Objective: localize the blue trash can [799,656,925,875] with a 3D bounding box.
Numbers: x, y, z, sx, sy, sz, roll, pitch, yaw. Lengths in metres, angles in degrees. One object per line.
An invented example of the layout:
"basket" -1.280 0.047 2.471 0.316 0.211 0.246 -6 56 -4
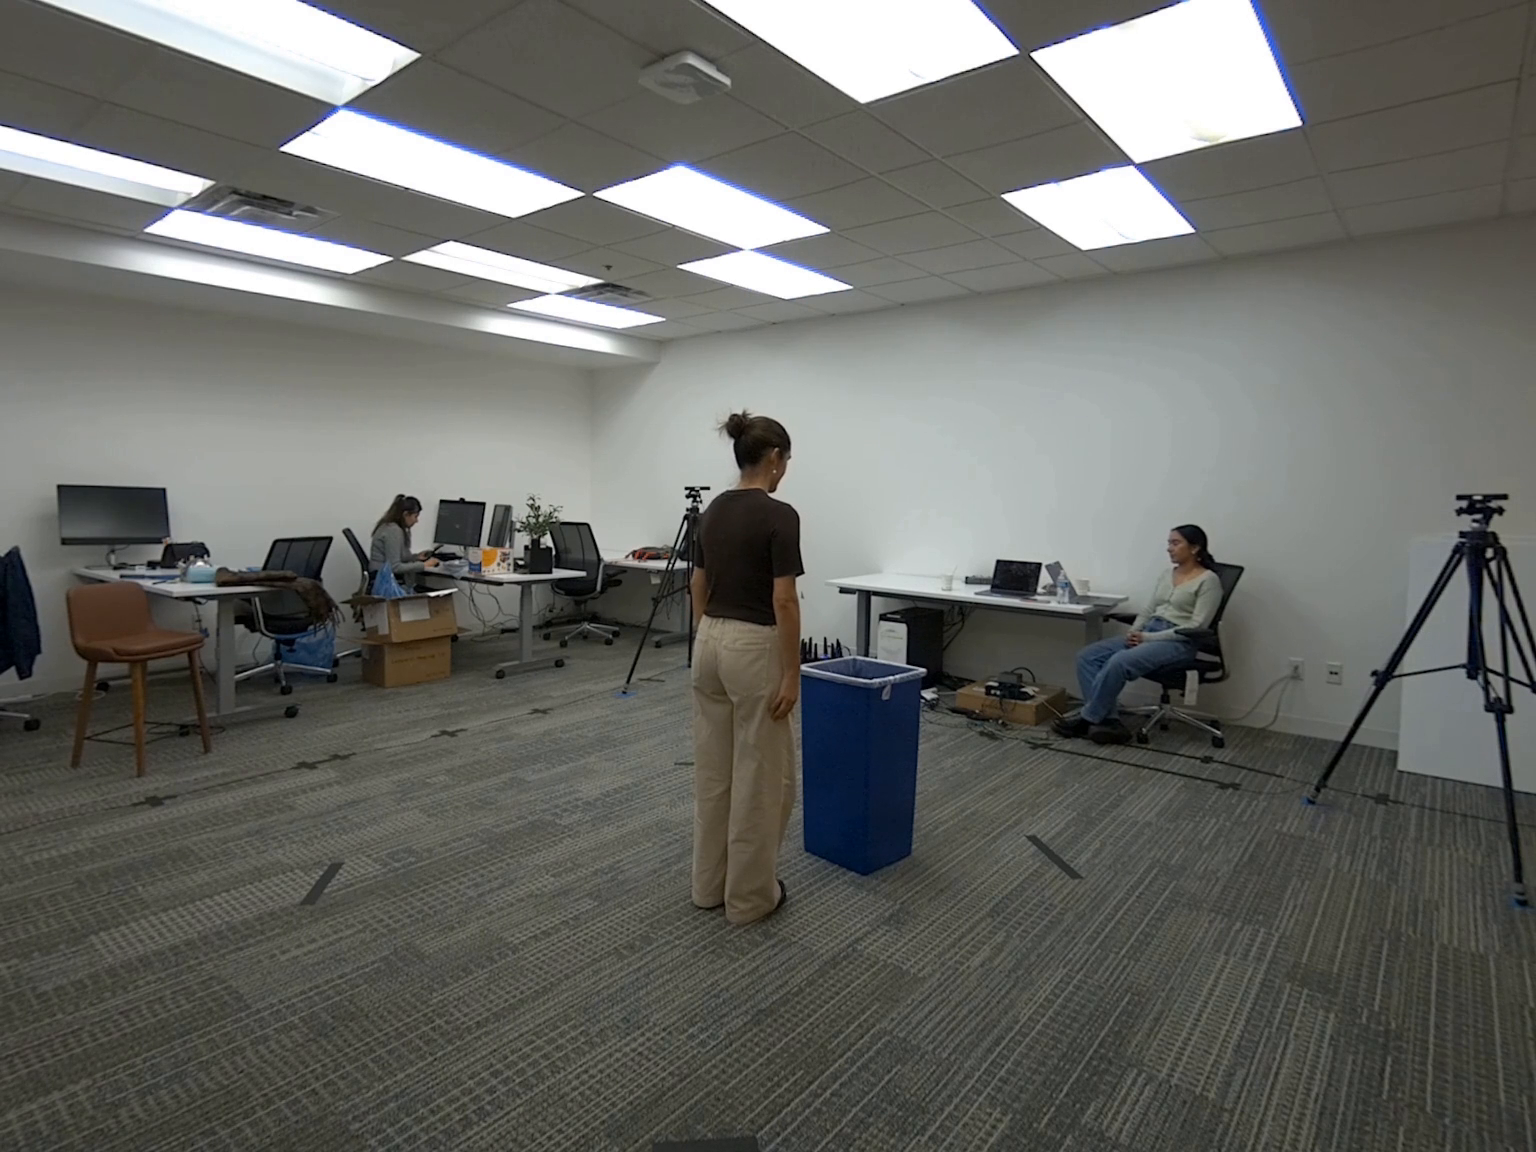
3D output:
"blue trash can" 0.347 0.701 3.266 0.391 0.712 0.362 3 4 45
